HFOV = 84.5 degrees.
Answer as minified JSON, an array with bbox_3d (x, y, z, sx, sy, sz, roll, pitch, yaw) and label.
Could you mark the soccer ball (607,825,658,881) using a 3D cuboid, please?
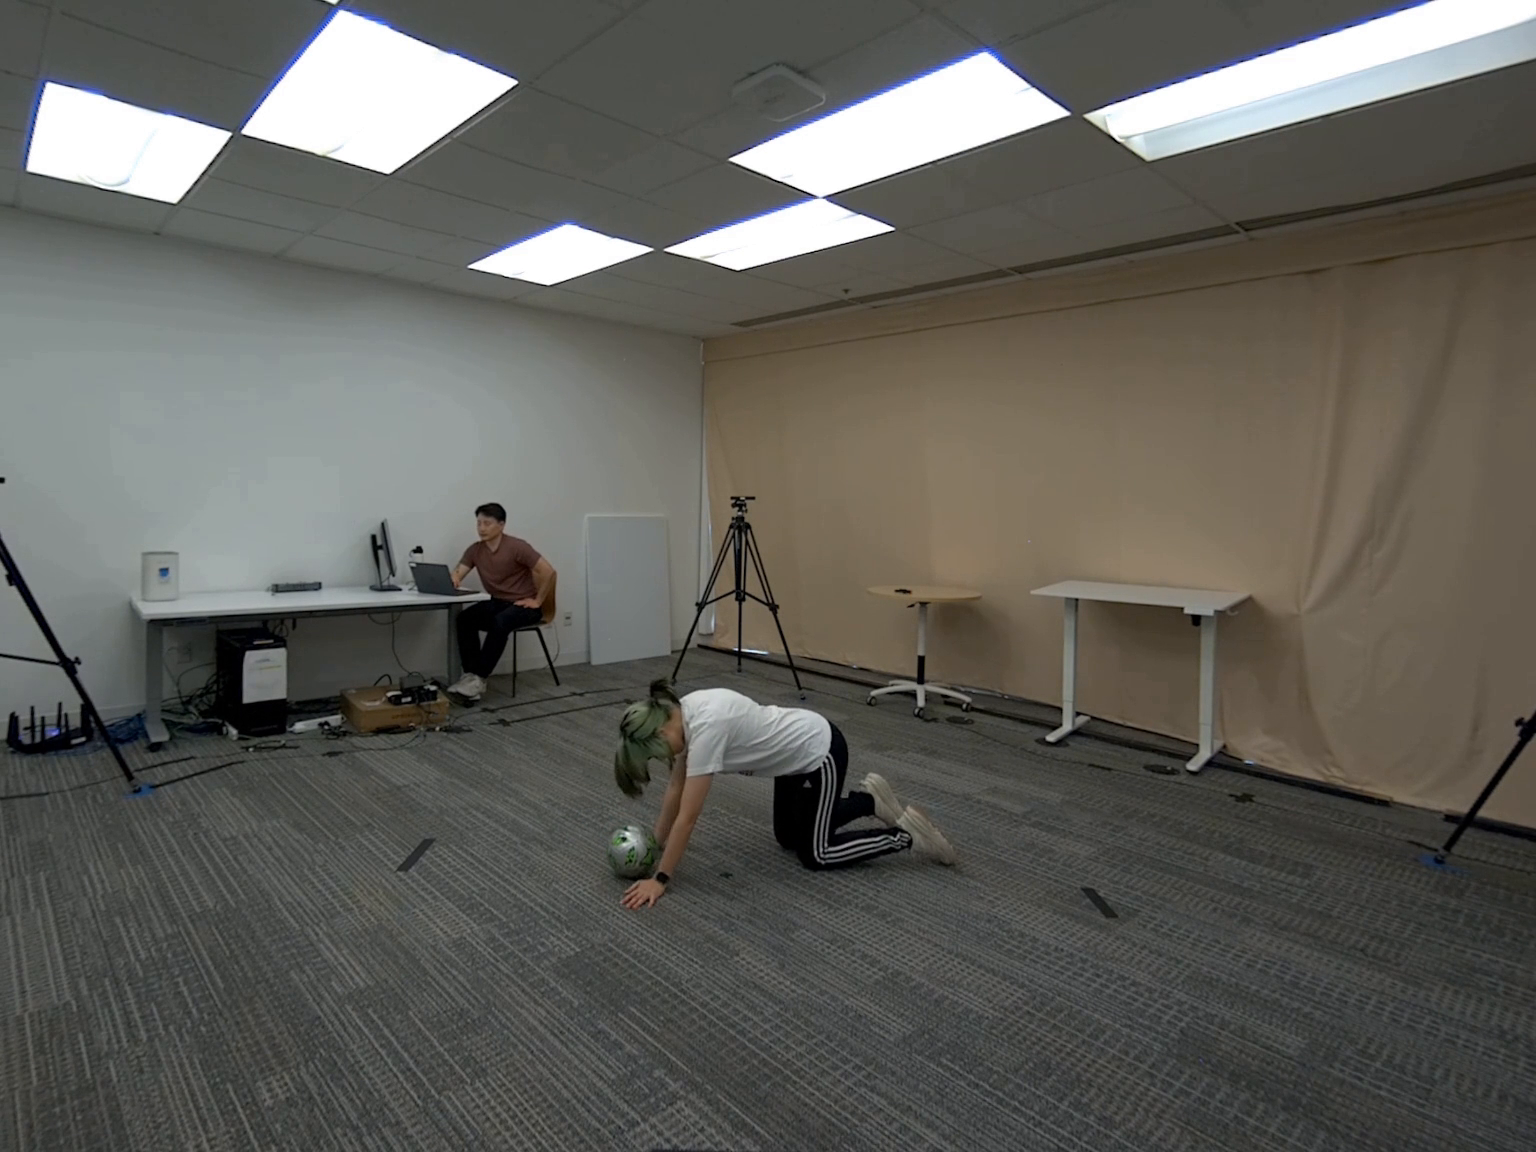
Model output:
[{"bbox_3d":[-0.502,1.005,3.080,0.187,0.187,0.188,1,4,-1],"label":"soccer ball"}]
